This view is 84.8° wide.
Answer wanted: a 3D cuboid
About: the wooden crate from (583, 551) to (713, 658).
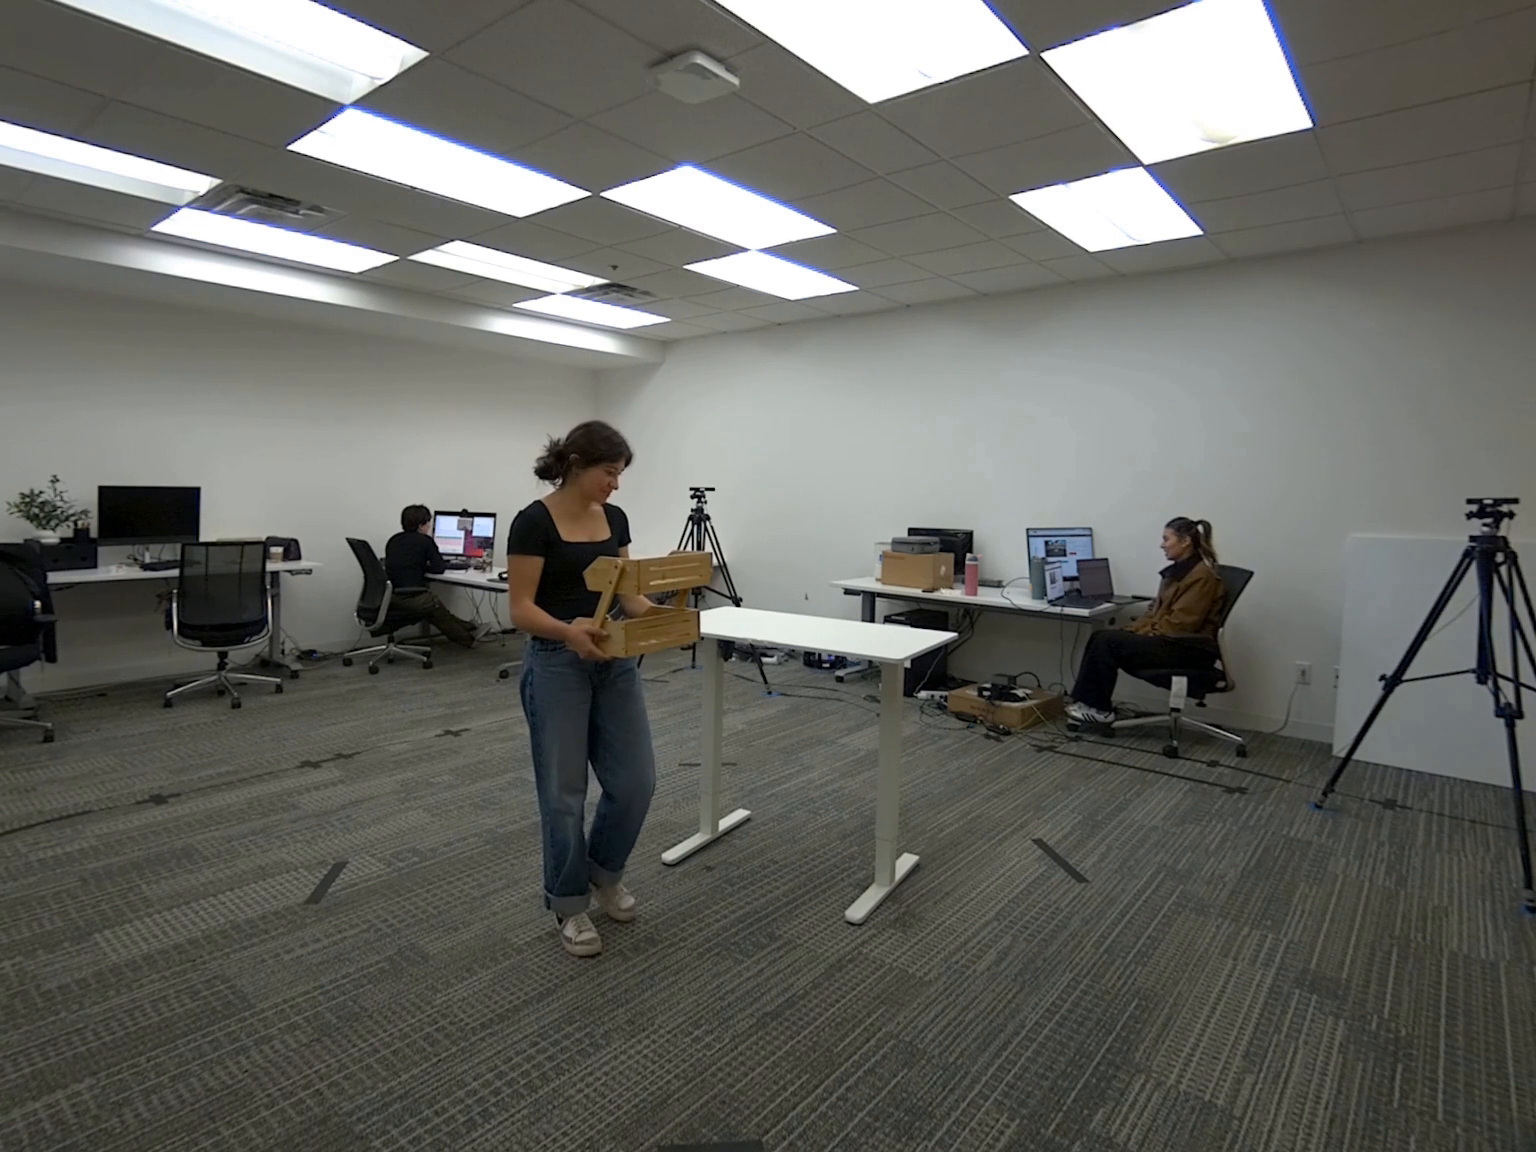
[{"bbox_3d":[-0.373,0.063,2.387,0.312,0.272,0.315,3,6,38],"label":"wooden crate"}]
